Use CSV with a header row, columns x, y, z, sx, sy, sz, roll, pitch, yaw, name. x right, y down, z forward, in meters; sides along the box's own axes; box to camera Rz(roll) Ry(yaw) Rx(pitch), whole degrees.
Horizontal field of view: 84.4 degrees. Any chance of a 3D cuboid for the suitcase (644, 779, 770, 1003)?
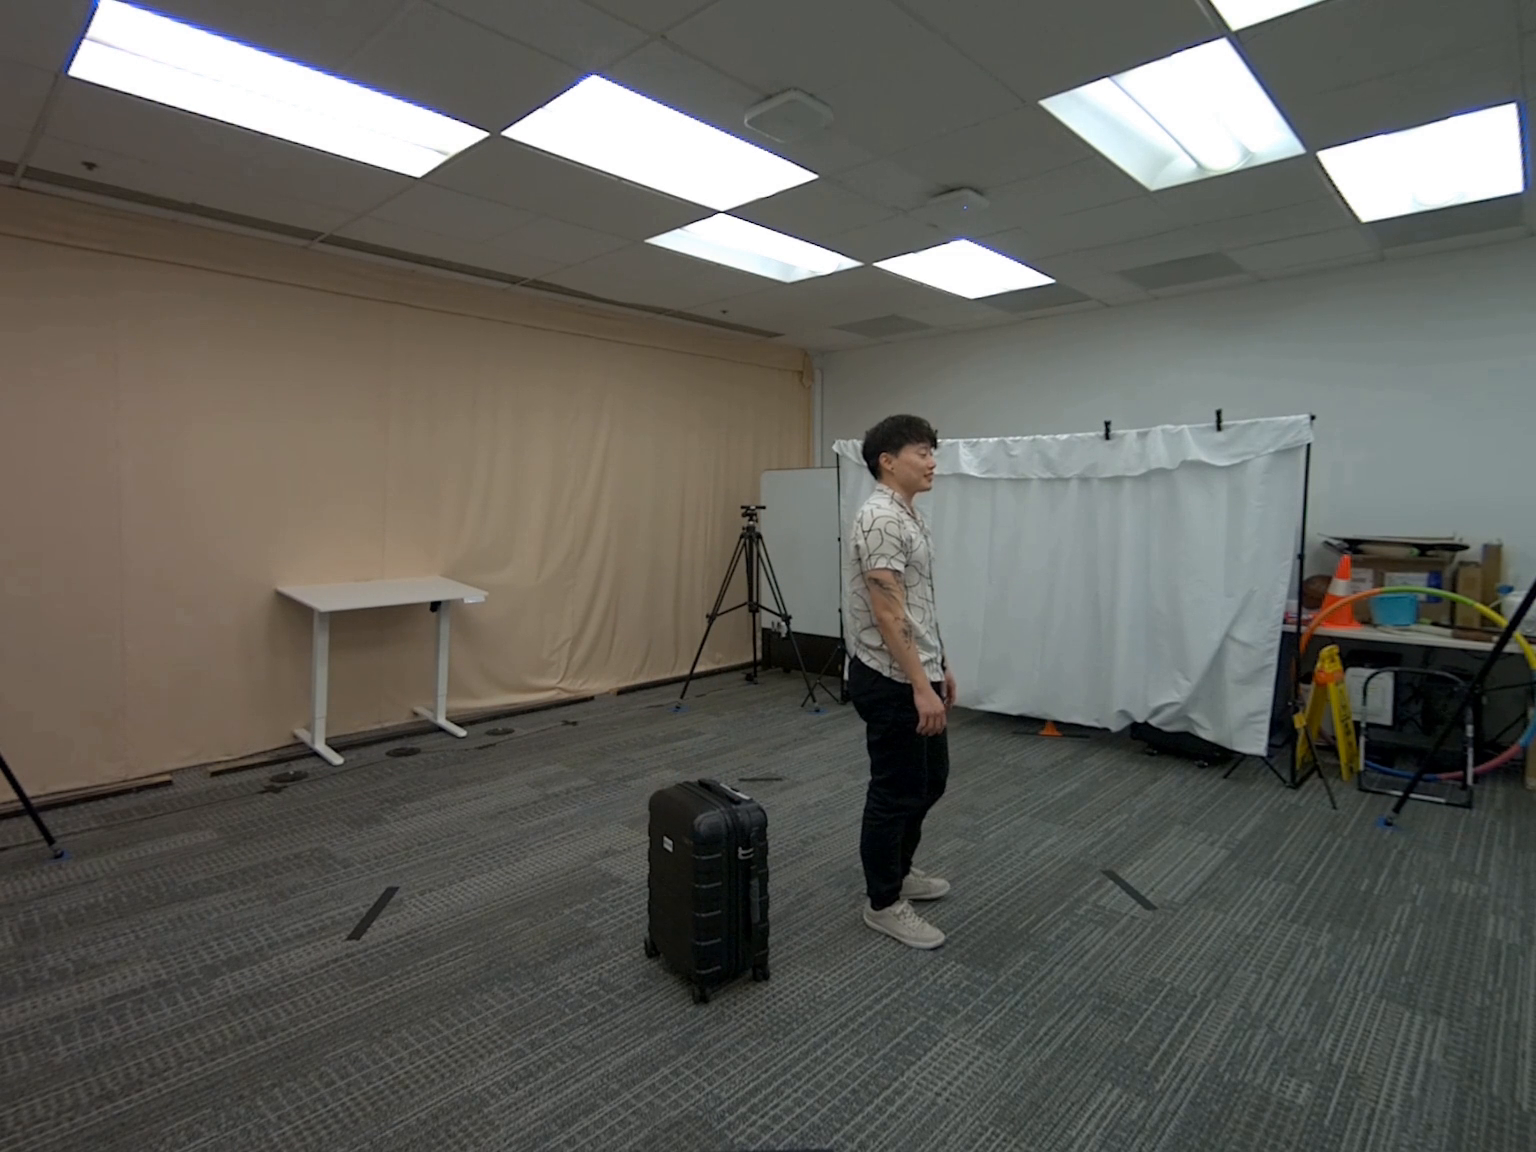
x,y,z,sx,sy,sz,roll,pitch,yaw,name
-0.177,0.910,2.500,0.241,0.548,0.387,-3,6,-34,suitcase
